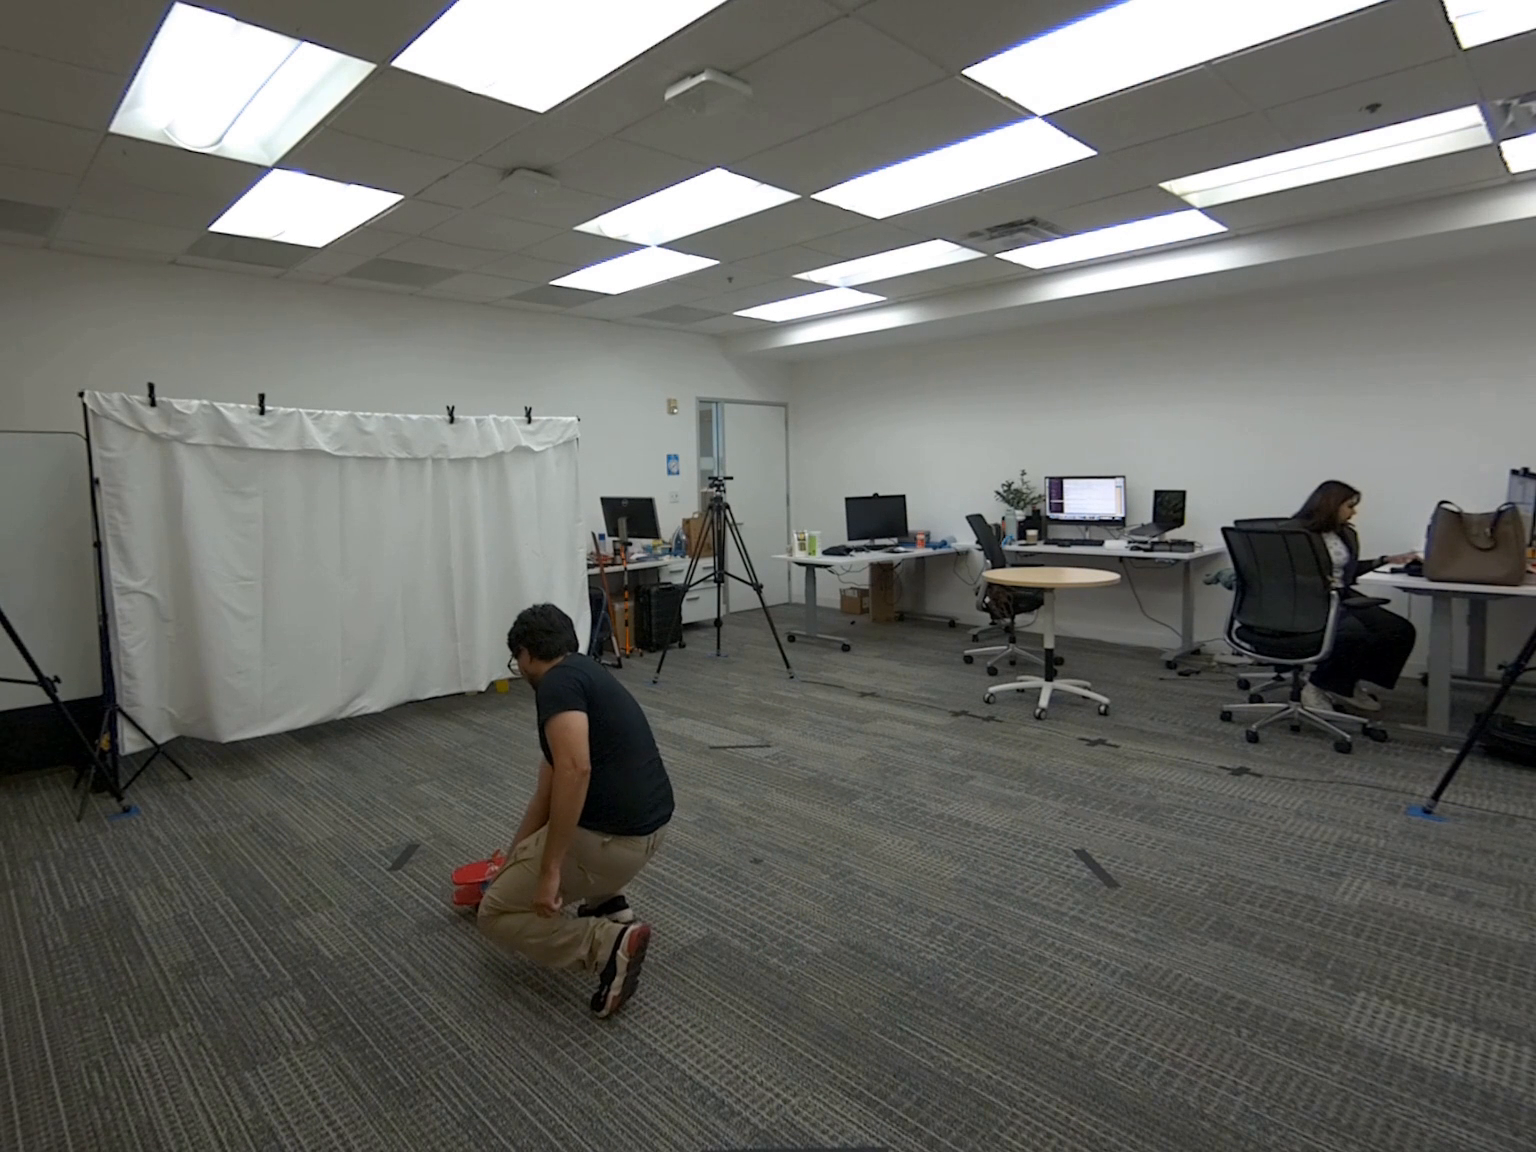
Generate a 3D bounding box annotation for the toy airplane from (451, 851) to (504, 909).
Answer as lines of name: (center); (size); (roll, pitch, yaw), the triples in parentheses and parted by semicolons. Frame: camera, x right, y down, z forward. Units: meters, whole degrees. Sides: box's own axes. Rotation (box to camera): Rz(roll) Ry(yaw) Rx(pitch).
toy airplane: (-0.874, 1.020, 2.776); (0.266, 0.156, 0.245); (0, 6, 40)
